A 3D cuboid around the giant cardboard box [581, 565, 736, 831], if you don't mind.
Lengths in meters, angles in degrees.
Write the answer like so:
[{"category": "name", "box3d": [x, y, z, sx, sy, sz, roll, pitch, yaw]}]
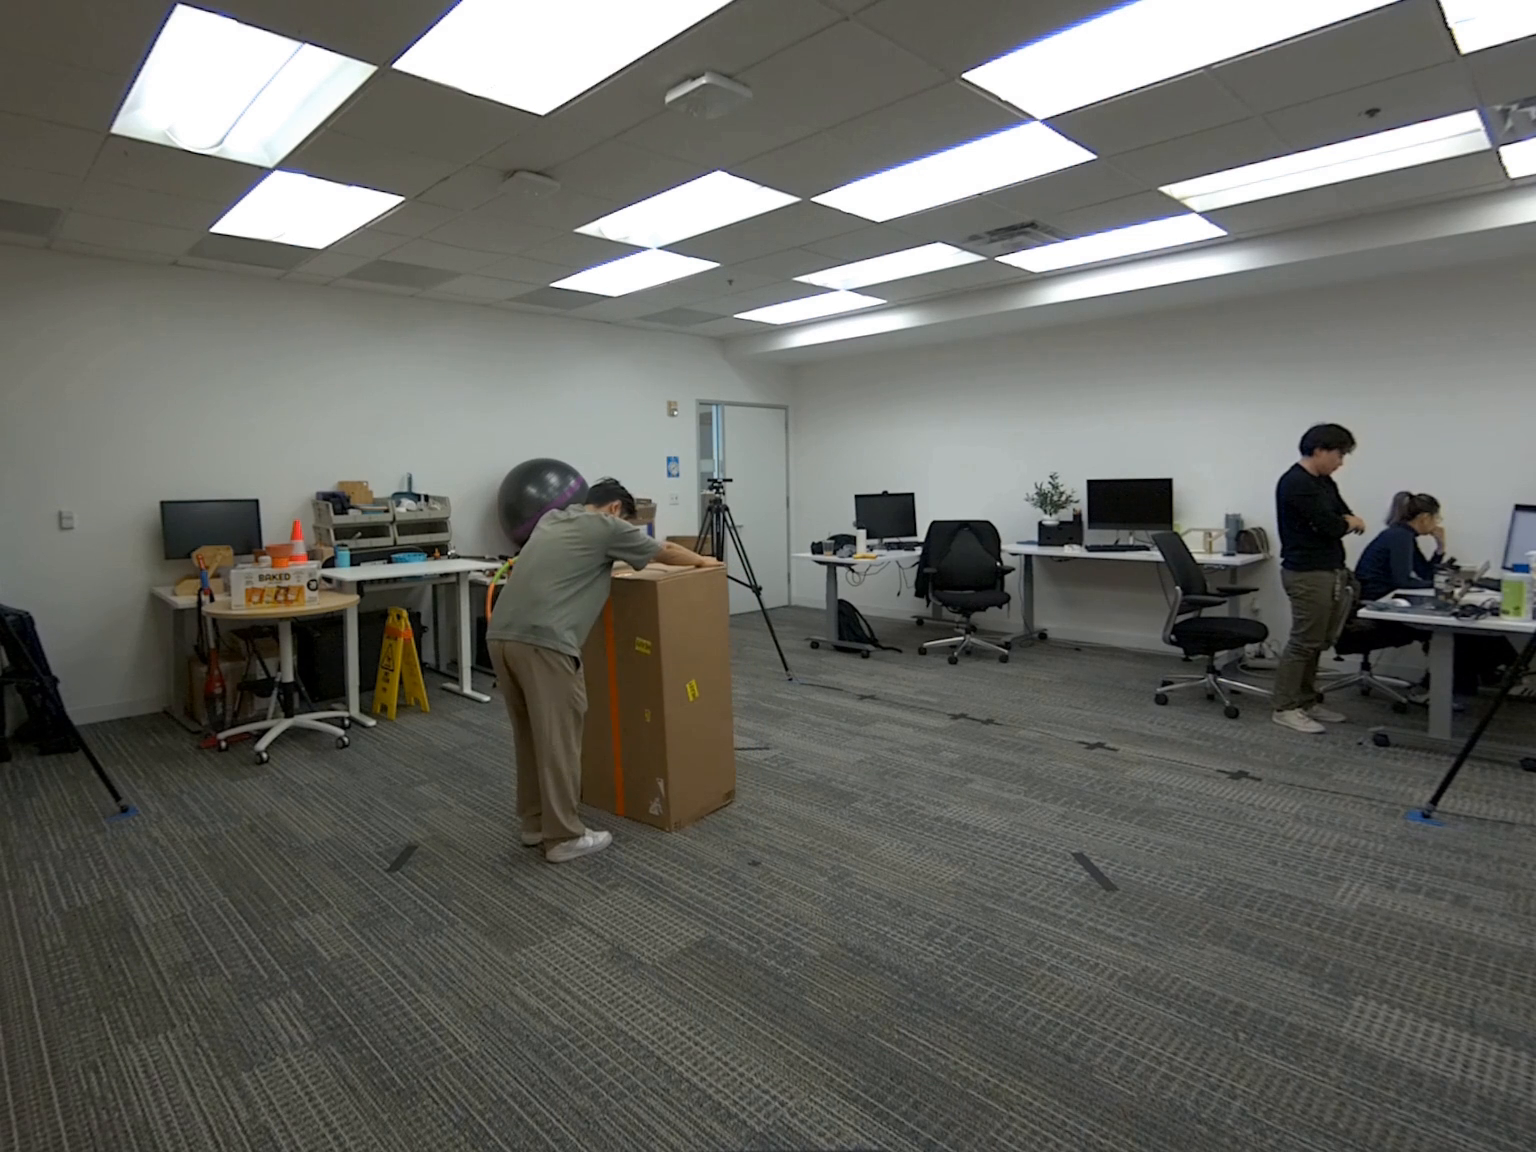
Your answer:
[{"category": "giant cardboard box", "box3d": [-0.506, 0.473, 3.683, 0.595, 1.020, 0.416, 3, 8, 40]}]
